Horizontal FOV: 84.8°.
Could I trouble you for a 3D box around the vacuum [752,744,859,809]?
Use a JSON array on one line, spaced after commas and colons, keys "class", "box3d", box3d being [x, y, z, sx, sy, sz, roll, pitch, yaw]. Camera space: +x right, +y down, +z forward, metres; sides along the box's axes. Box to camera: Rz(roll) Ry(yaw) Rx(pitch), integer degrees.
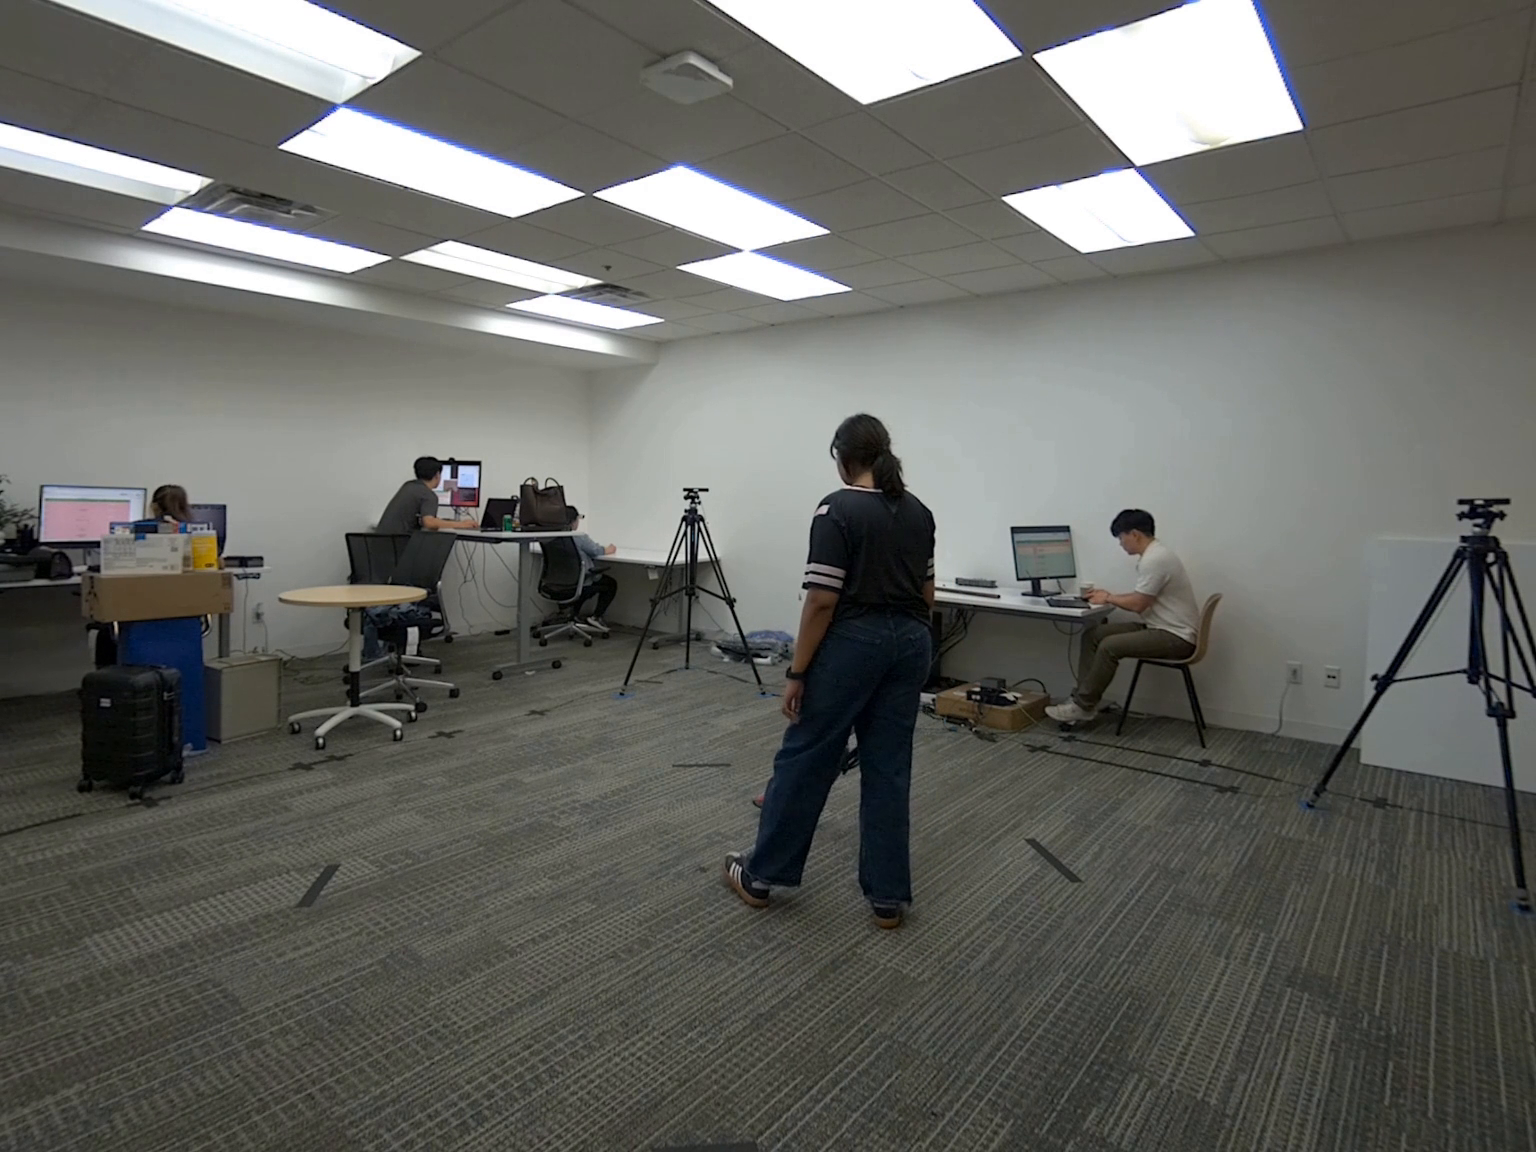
[{"class": "vacuum", "box3d": [0.295, 0.675, 3.330, 0.246, 0.149, 1.044, -7, -32, -38]}]
